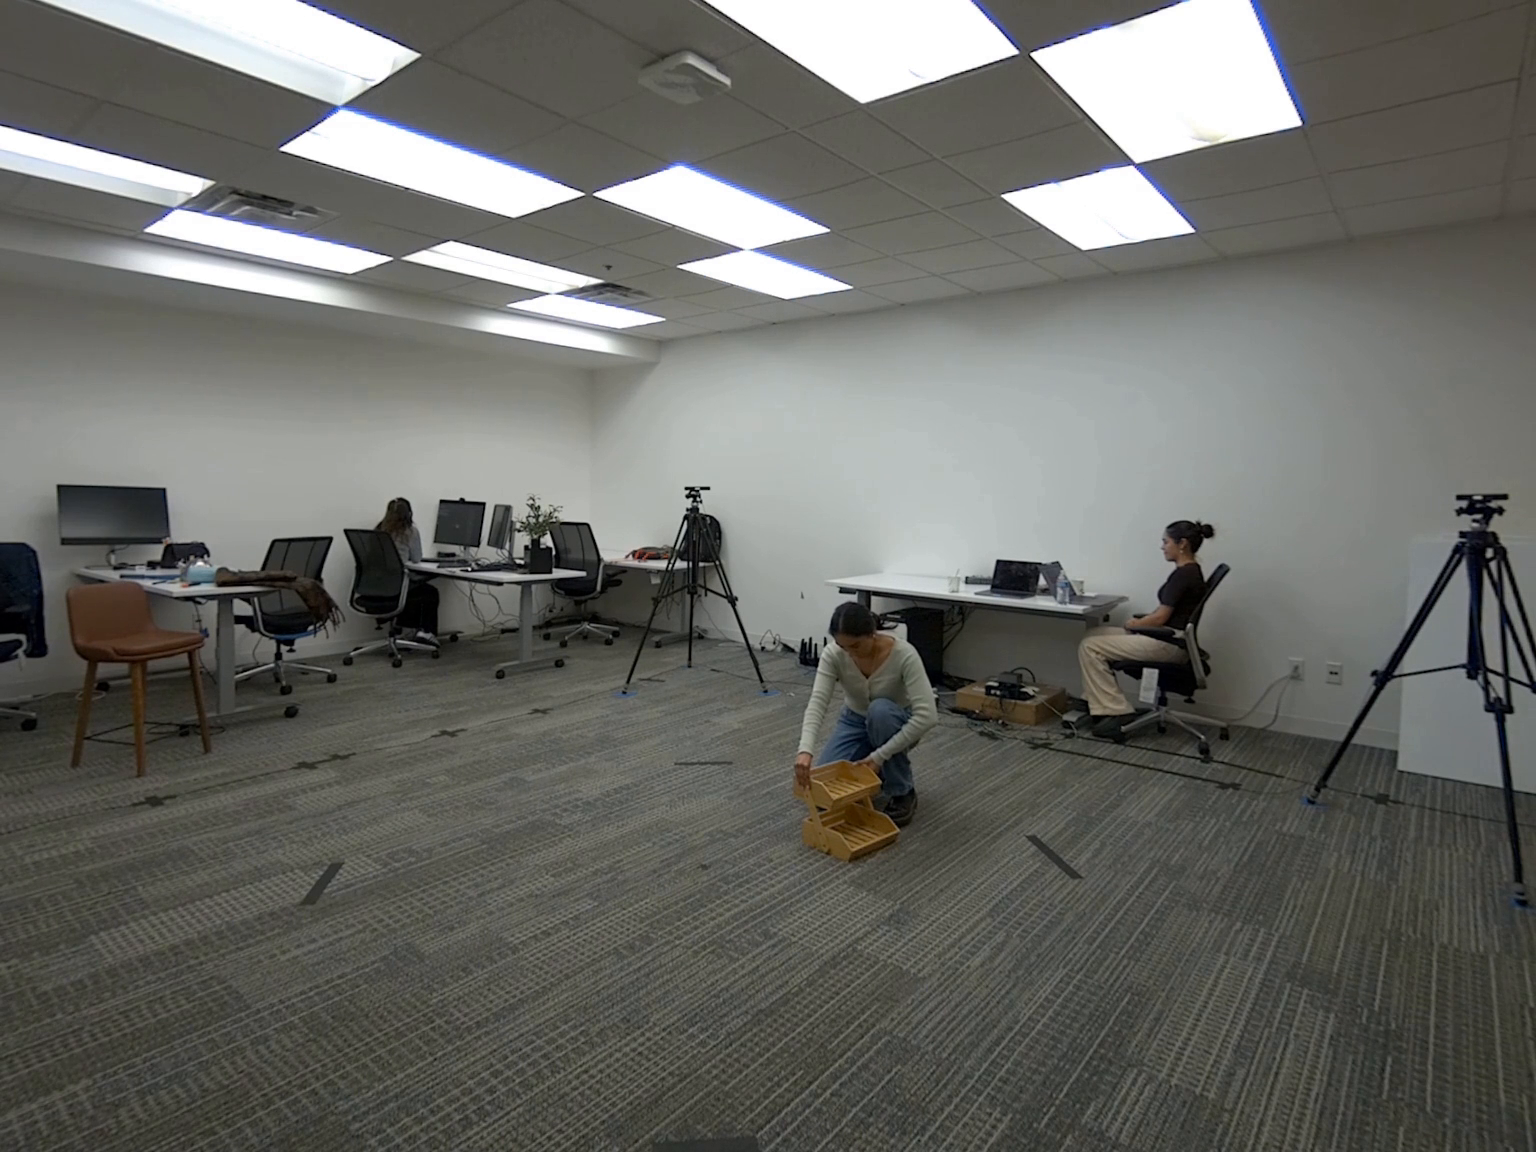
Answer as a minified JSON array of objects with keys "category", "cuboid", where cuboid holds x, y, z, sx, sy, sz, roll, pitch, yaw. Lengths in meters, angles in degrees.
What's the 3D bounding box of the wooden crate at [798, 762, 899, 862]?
[{"category":"wooden crate","cuboid":[0.308,0.914,3.370,0.315,0.272,0.312,-4,5,-43]}]
